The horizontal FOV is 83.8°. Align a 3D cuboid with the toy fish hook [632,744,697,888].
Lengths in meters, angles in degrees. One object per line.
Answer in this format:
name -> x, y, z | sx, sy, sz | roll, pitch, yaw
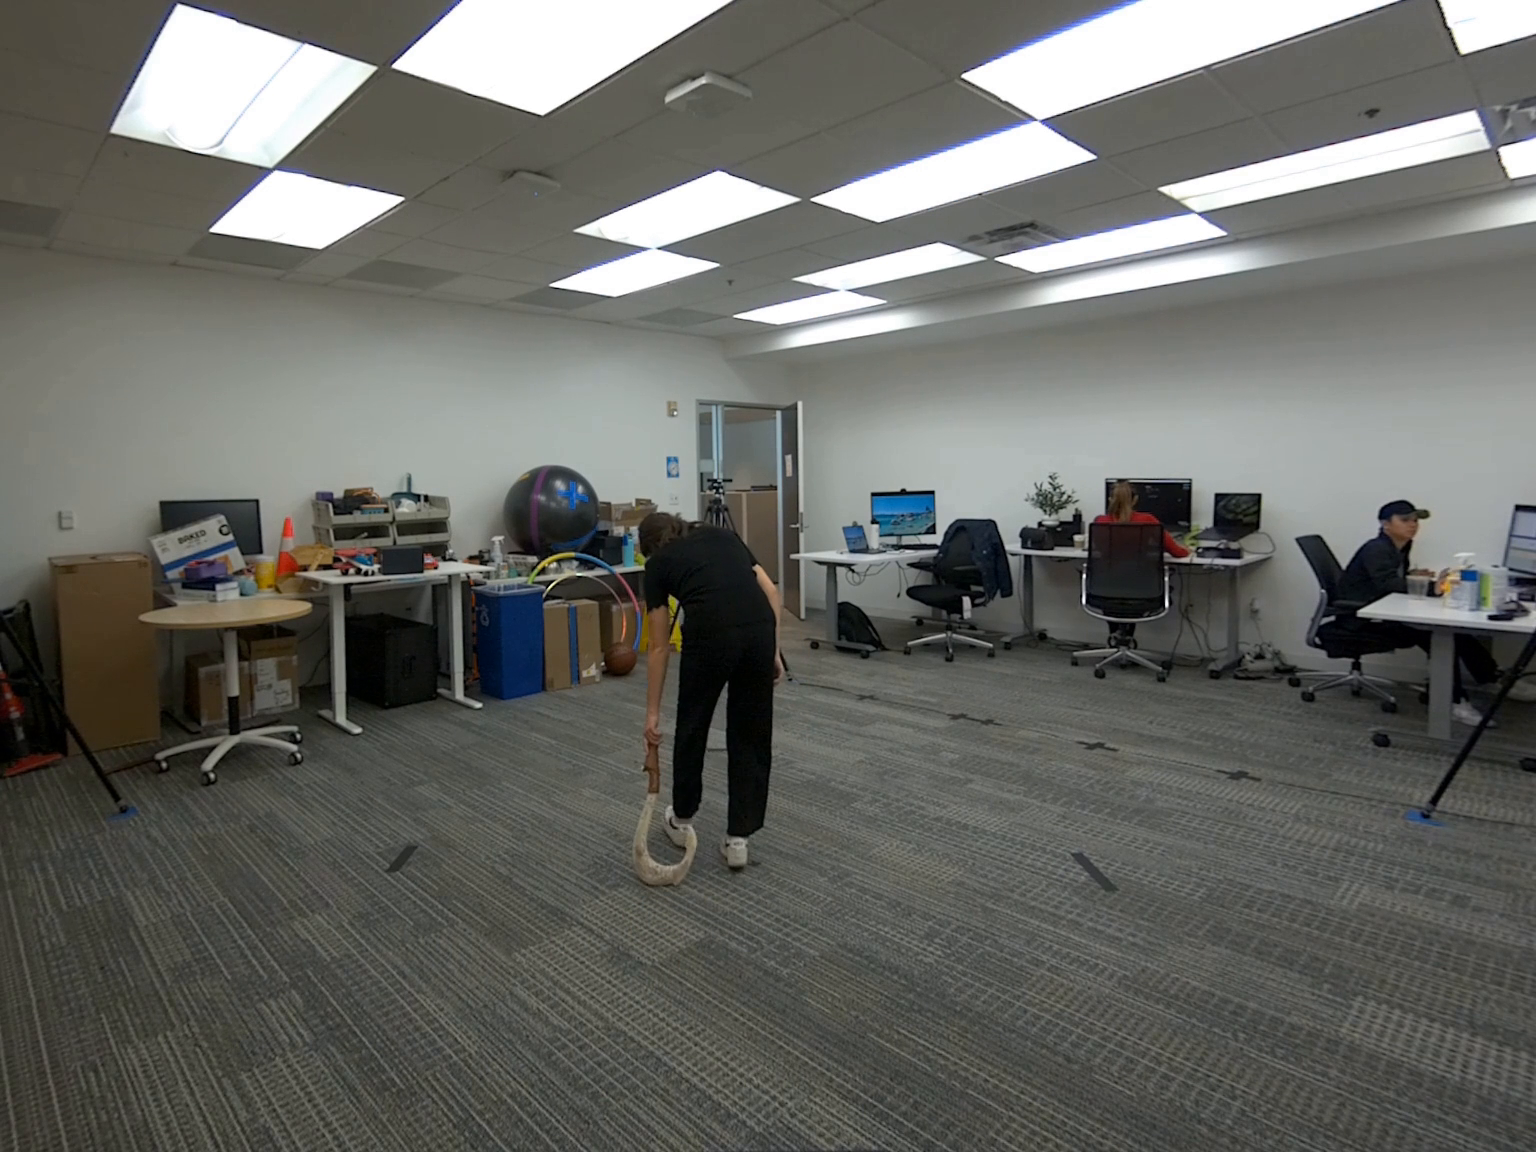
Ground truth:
toy fish hook -> -0.366, 0.832, 3.051 | 0.224, 0.516, 0.047 | 0, -22, -3
